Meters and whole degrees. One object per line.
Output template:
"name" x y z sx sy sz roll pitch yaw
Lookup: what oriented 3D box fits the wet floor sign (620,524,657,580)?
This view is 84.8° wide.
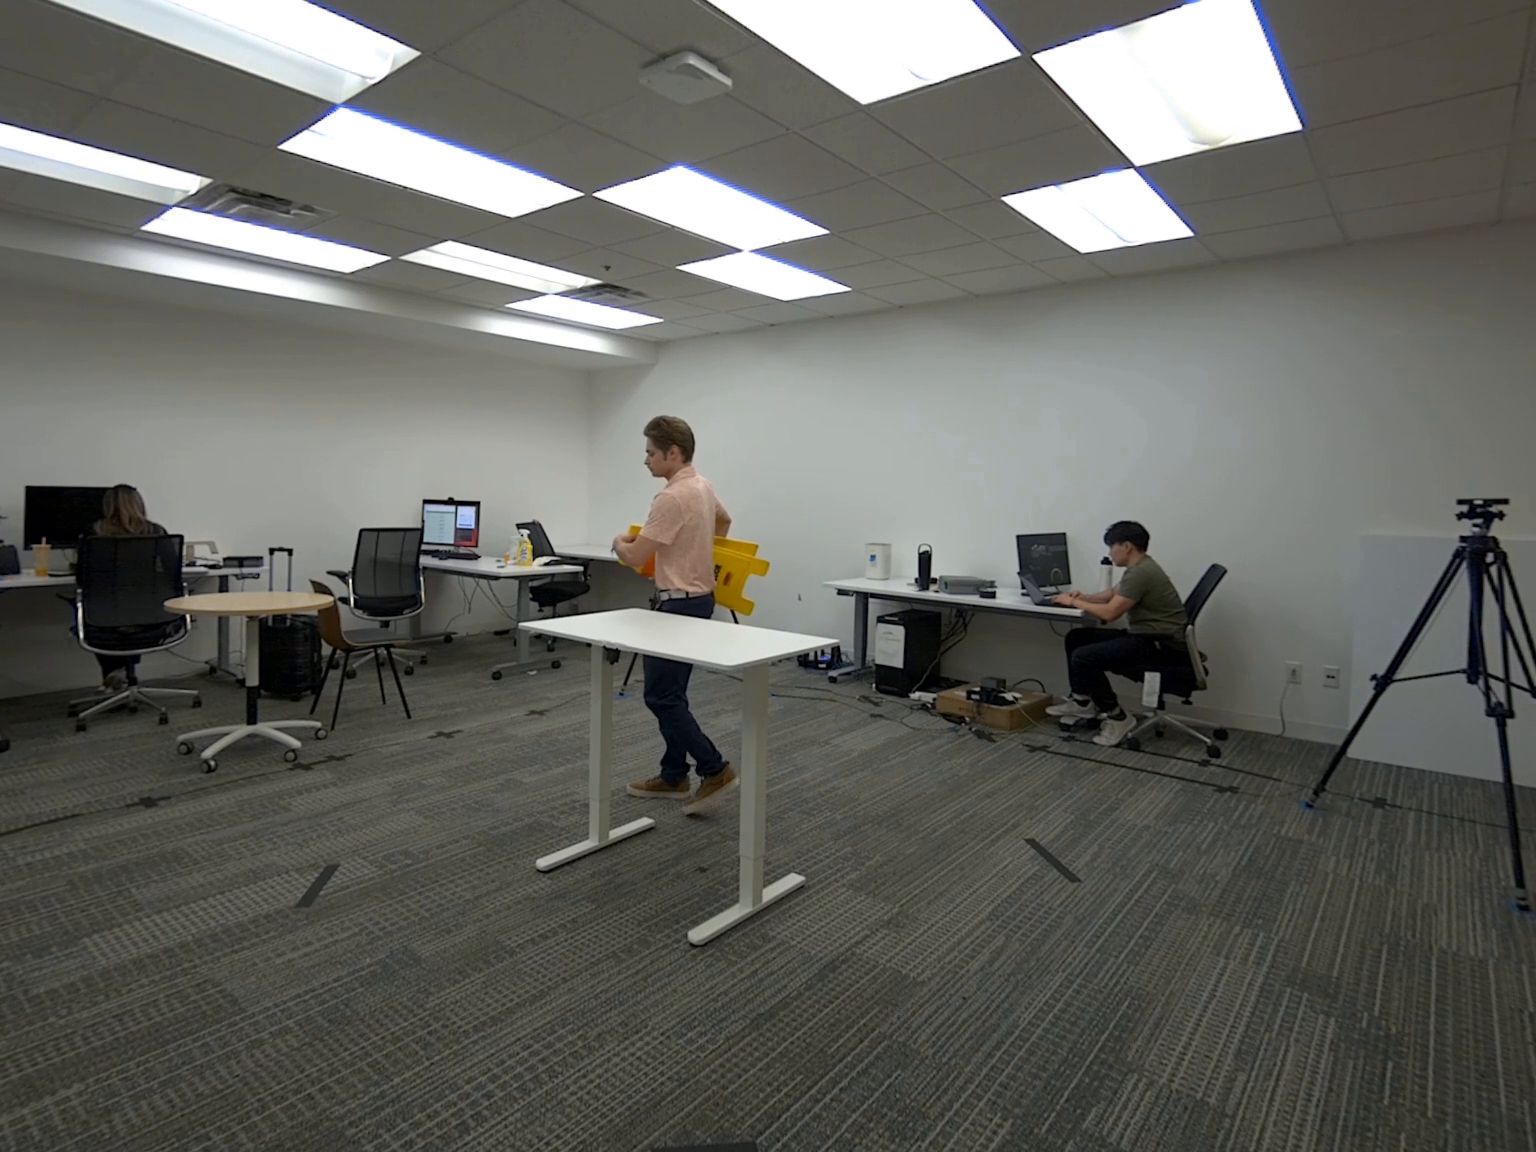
"wet floor sign" -0.367 -0.060 3.946 0.634 0.280 0.298 16 15 -16
